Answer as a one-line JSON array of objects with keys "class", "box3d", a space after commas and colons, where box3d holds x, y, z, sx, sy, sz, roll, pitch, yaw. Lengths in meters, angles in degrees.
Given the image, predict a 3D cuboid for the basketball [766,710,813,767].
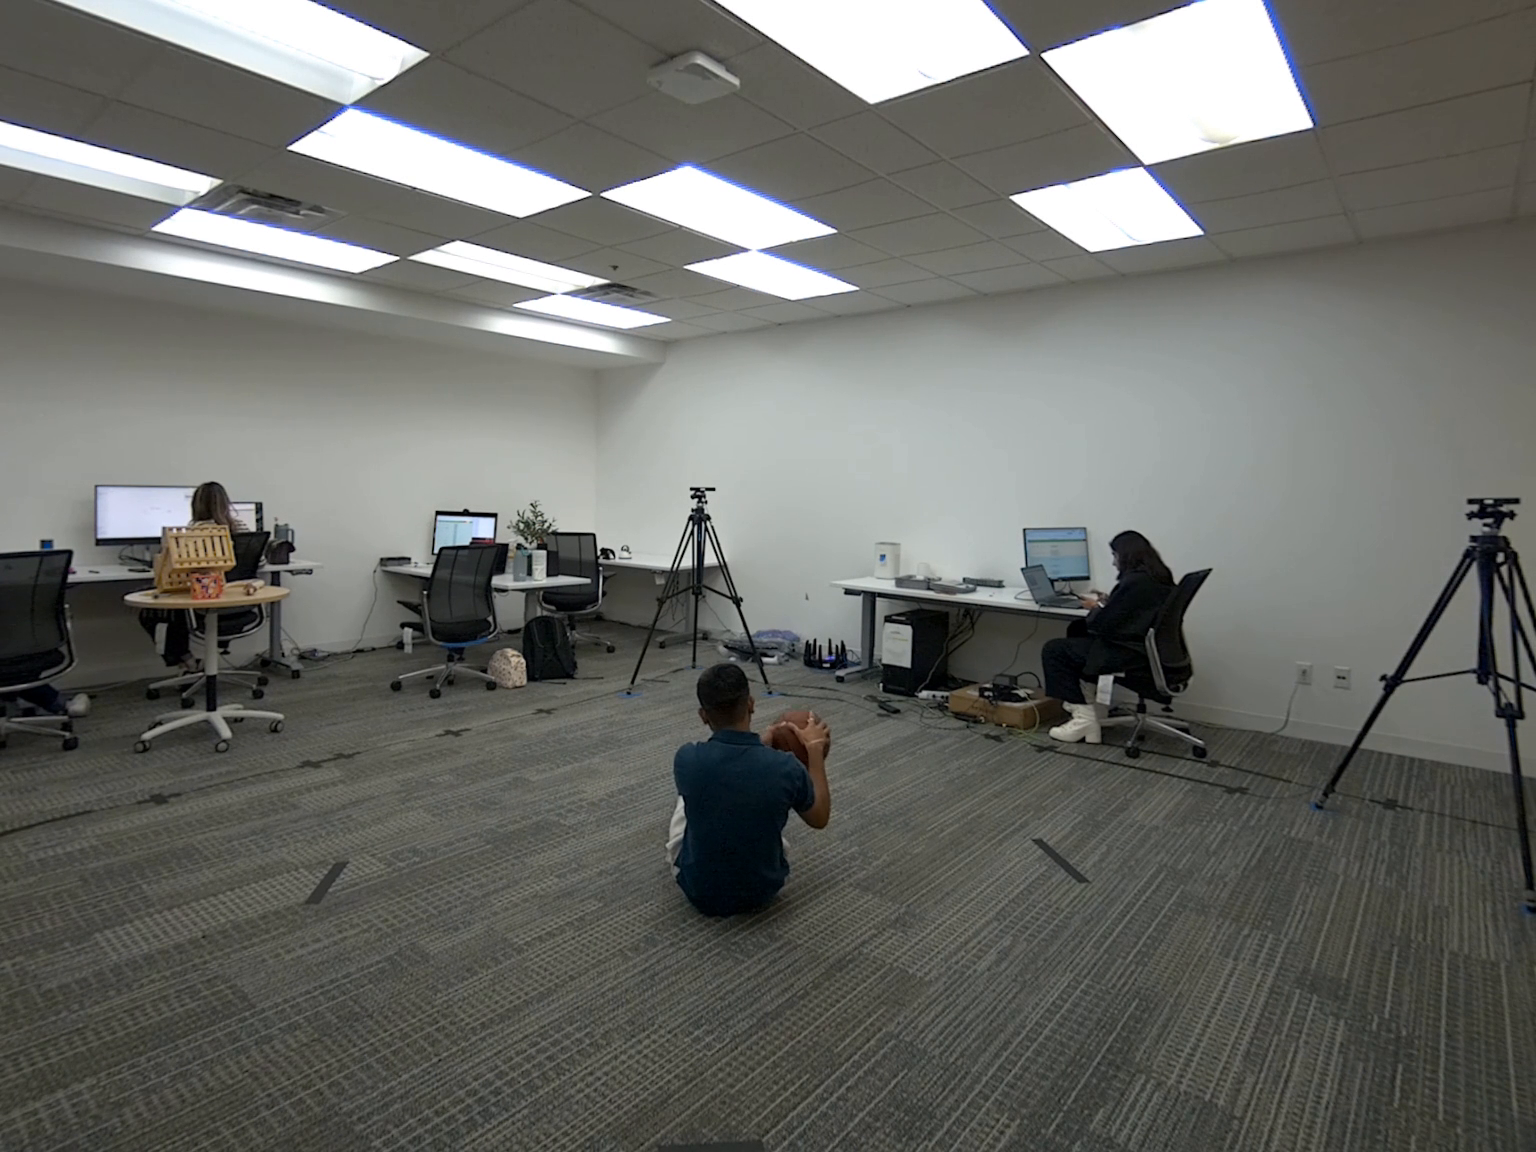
[{"class": "basketball", "box3d": [0.101, 0.628, 3.239, 0.235, 0.235, 0.237, 1, 4, -2]}]
